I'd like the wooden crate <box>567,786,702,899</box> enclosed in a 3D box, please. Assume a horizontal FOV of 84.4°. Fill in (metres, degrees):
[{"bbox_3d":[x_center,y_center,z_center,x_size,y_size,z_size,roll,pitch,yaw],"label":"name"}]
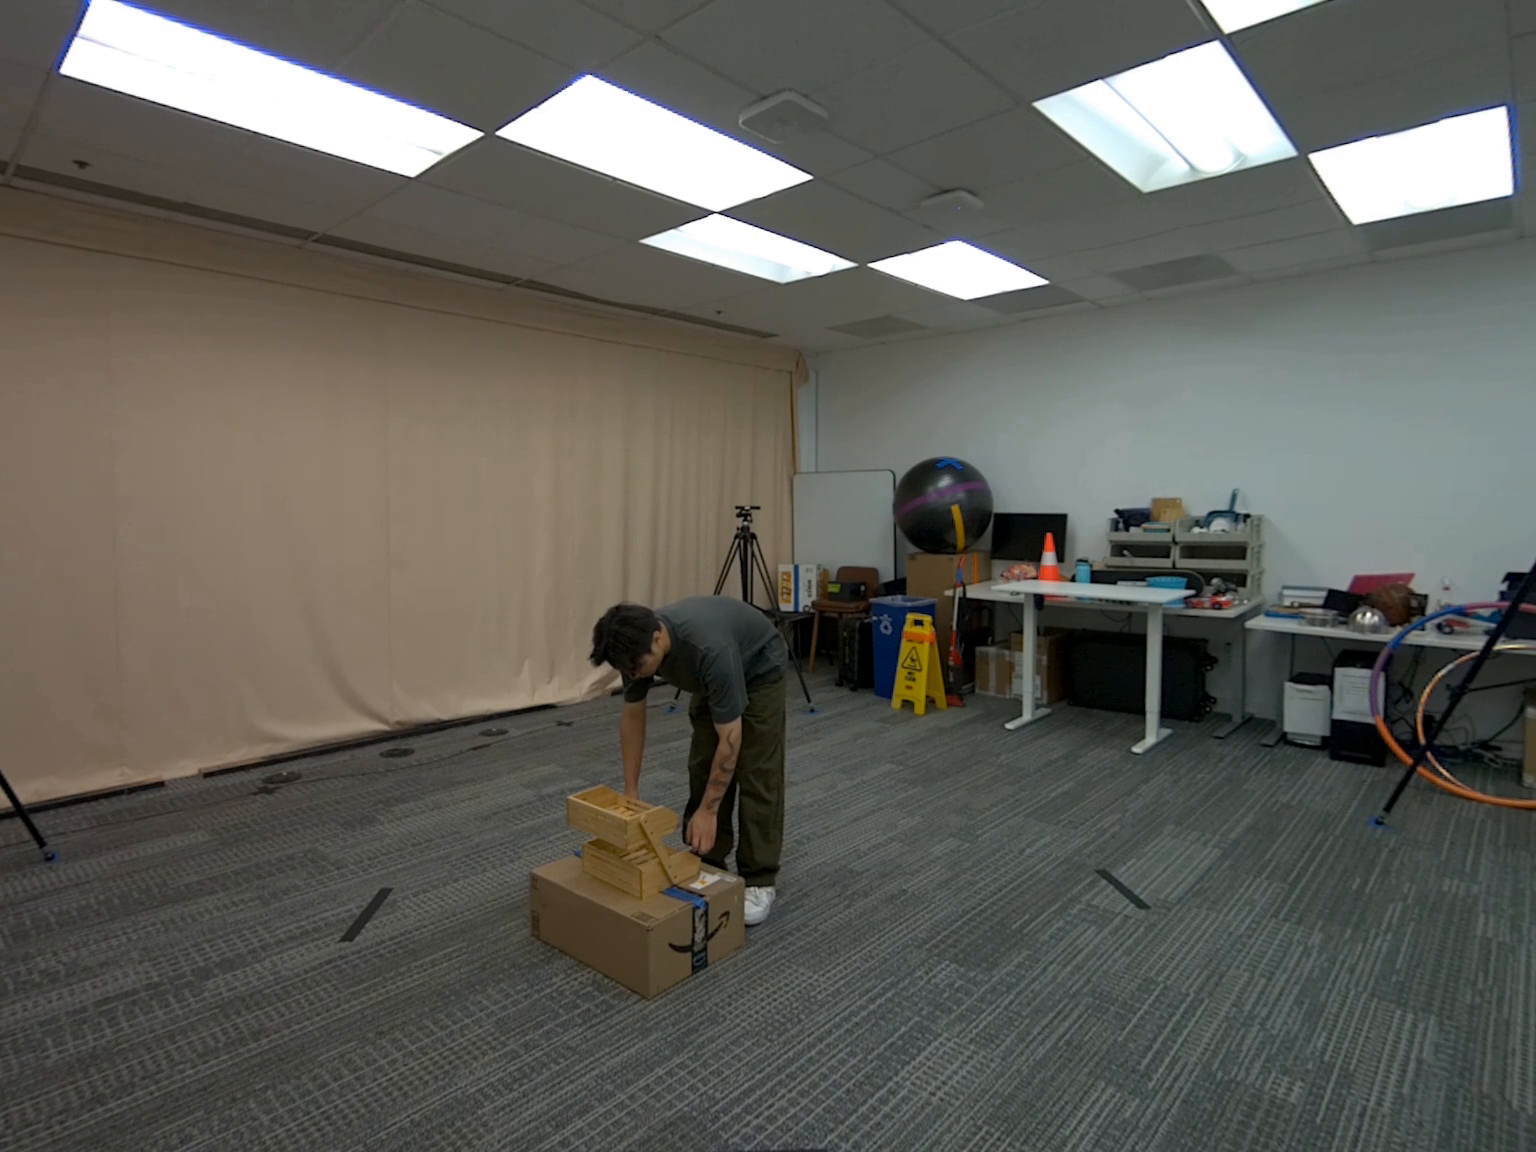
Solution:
[{"bbox_3d":[-0.433,0.830,2.687,0.335,0.273,0.293,2,5,42],"label":"wooden crate"}]
